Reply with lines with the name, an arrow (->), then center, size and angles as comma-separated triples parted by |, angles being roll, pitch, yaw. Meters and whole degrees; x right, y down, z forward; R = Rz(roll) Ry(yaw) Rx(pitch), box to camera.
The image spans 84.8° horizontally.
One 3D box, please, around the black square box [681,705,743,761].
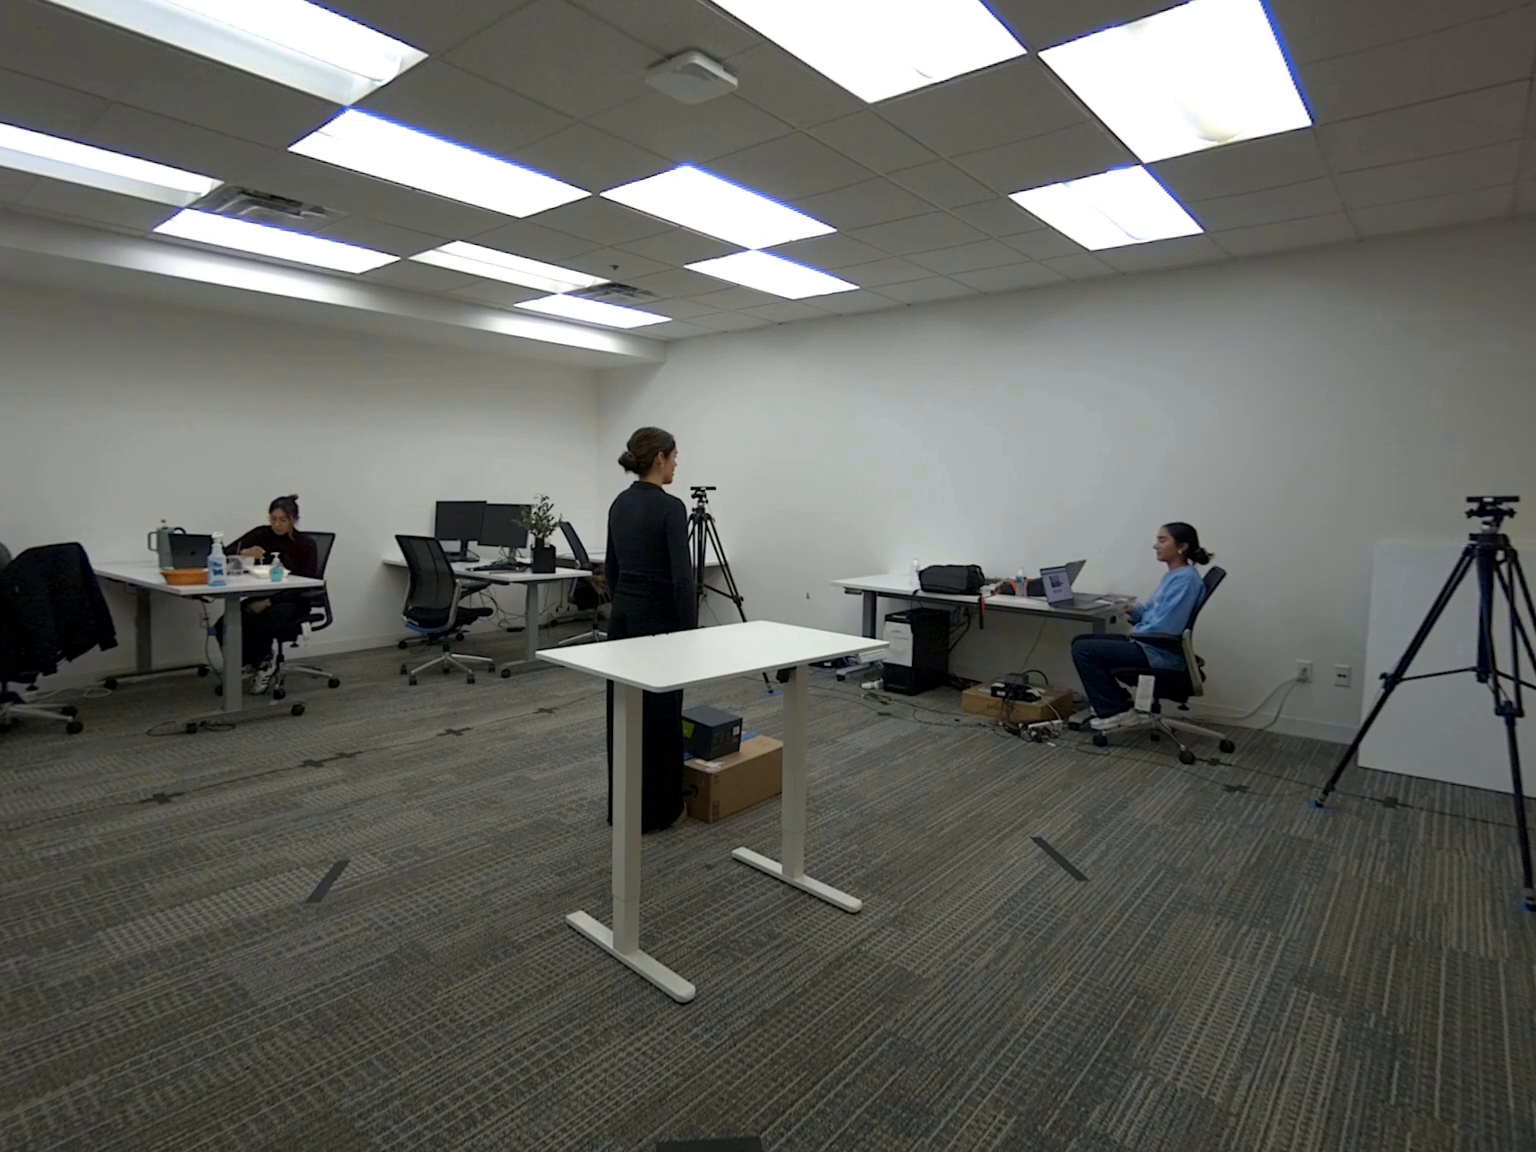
black square box -> -0.282, 0.689, 3.790 | 0.236, 0.155, 0.210 | 10, 9, 38
